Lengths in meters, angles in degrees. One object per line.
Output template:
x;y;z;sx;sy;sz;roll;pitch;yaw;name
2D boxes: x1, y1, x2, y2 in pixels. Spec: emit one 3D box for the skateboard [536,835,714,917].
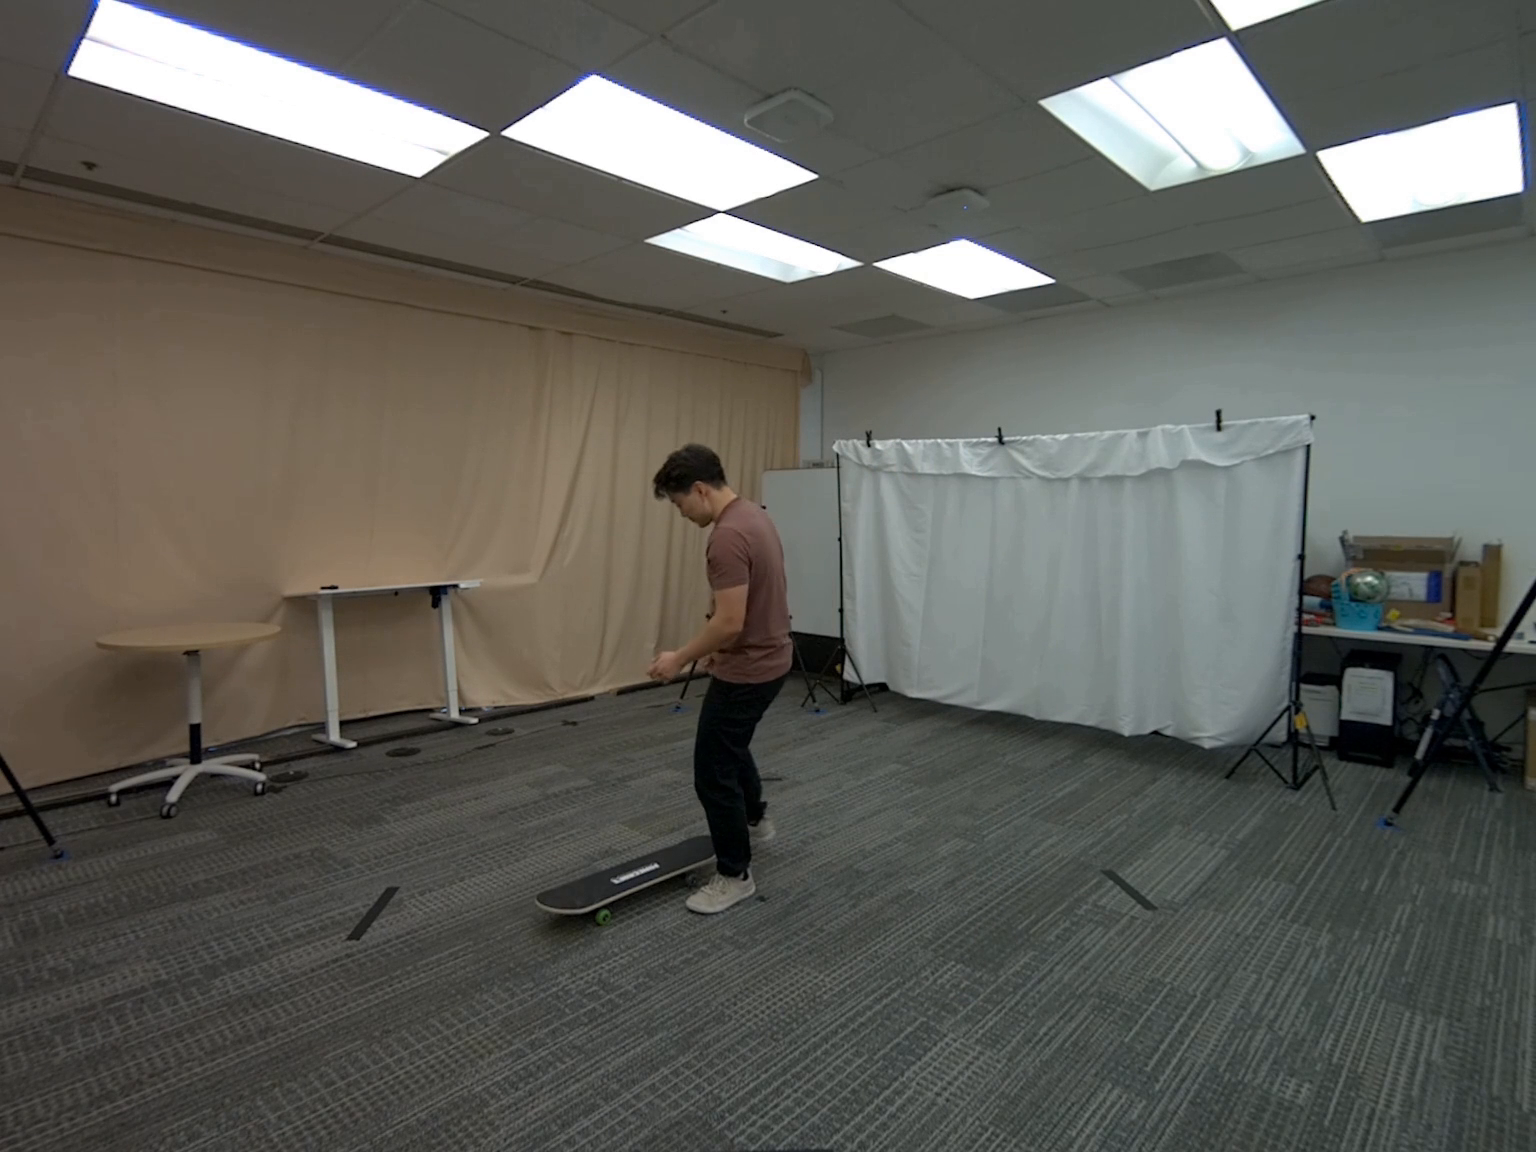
-0.475;1.096;2.997;0.200;0.110;0.761;5;7;45;skateboard
